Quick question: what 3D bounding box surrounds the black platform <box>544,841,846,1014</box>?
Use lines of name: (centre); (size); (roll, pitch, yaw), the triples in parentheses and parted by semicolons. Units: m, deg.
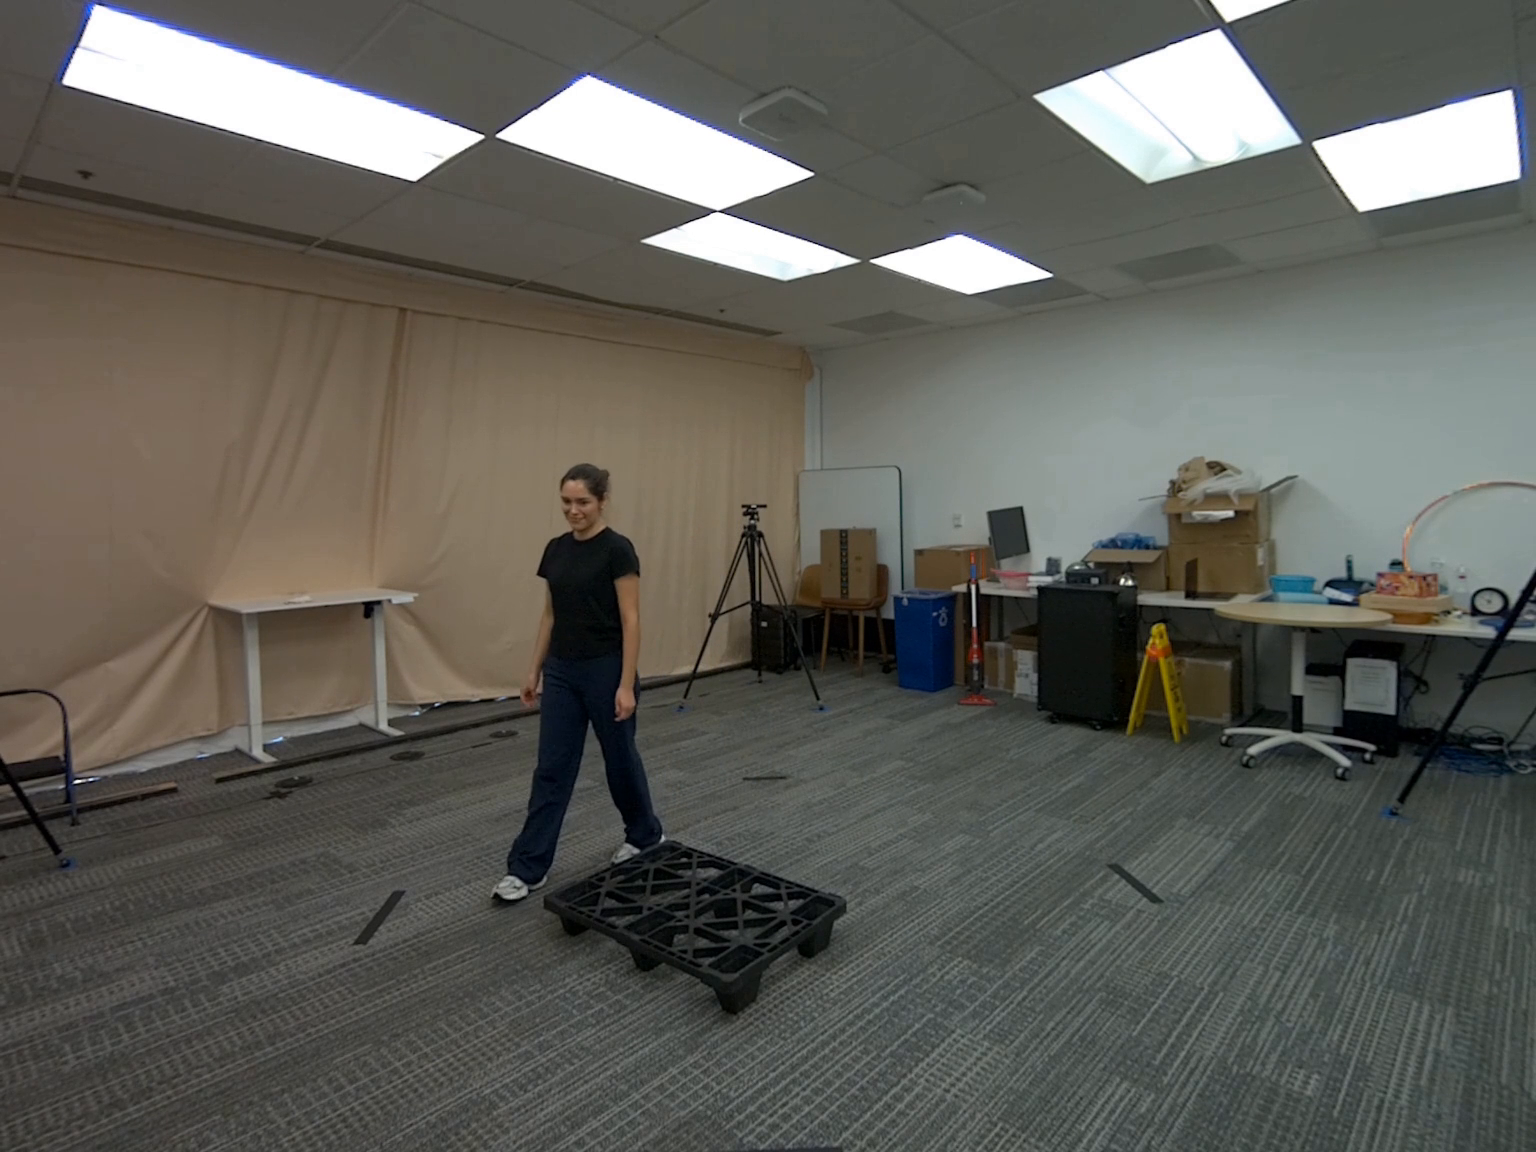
black platform: (-0.221, 1.103, 2.703); (0.832, 0.143, 0.587); (2, 7, 39)
